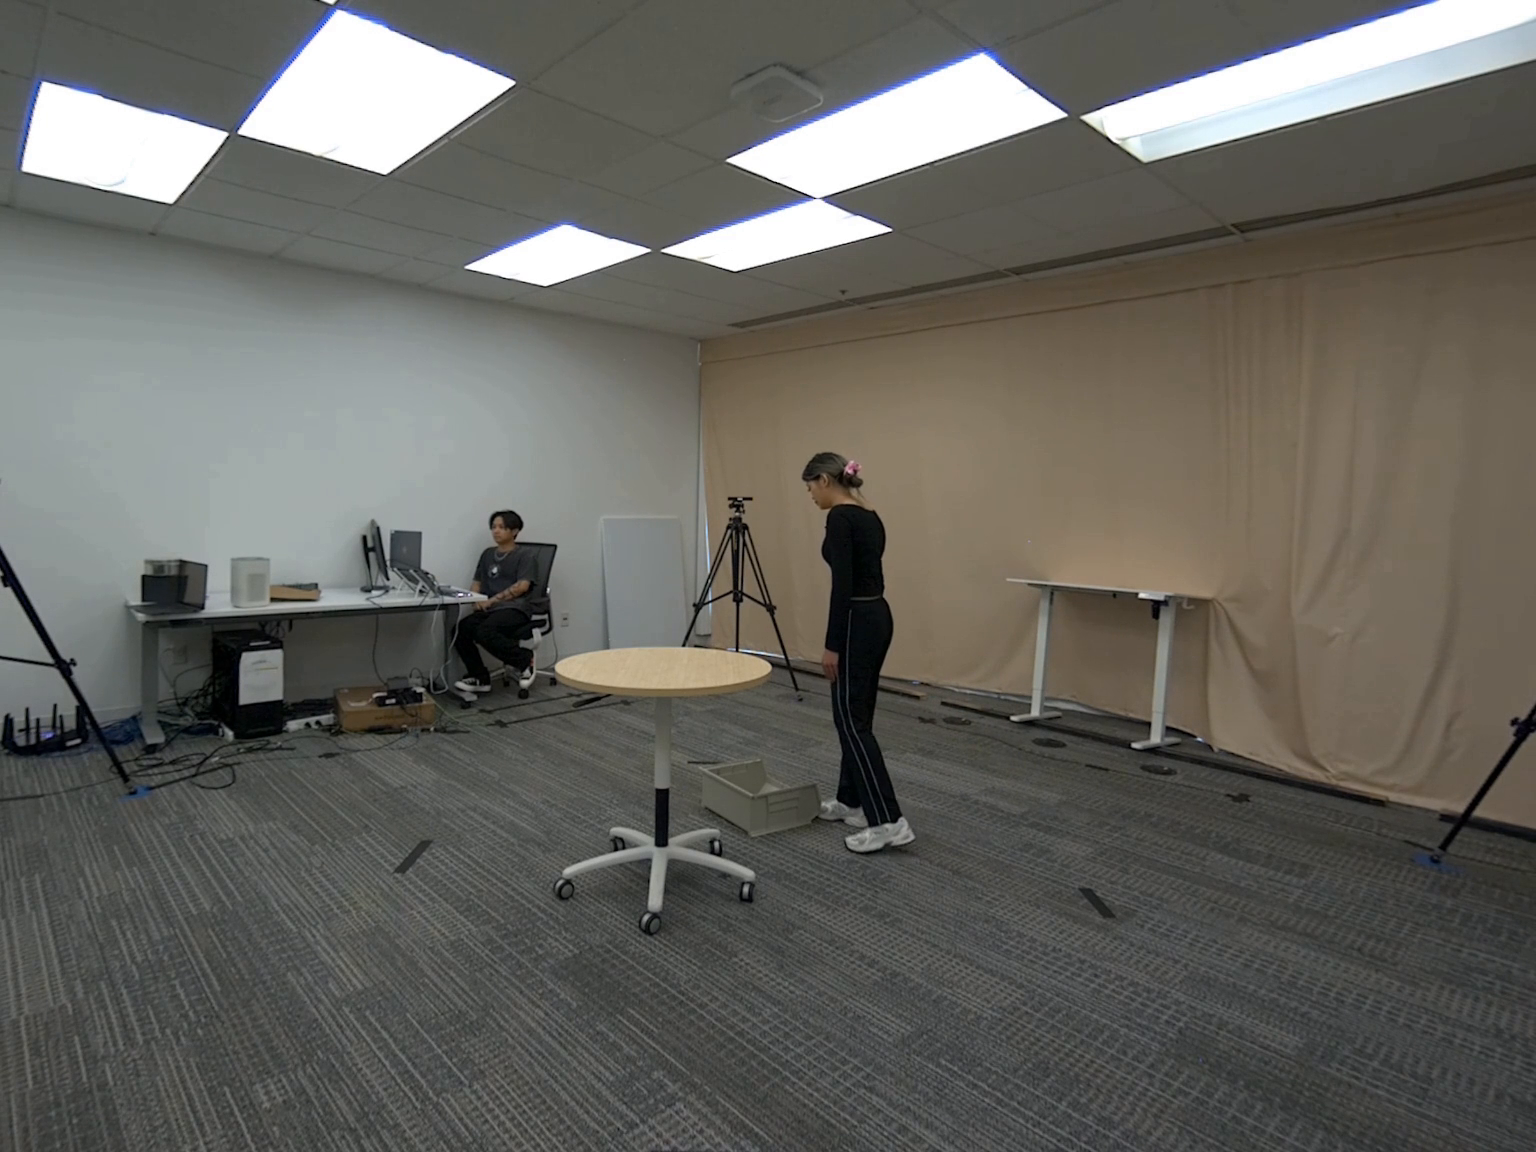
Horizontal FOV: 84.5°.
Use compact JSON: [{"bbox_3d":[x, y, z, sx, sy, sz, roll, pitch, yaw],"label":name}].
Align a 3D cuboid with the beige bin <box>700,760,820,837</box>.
[{"bbox_3d":[-0.048,0.964,3.733,0.369,0.188,0.433,-3,7,-34],"label":"beige bin"}]
